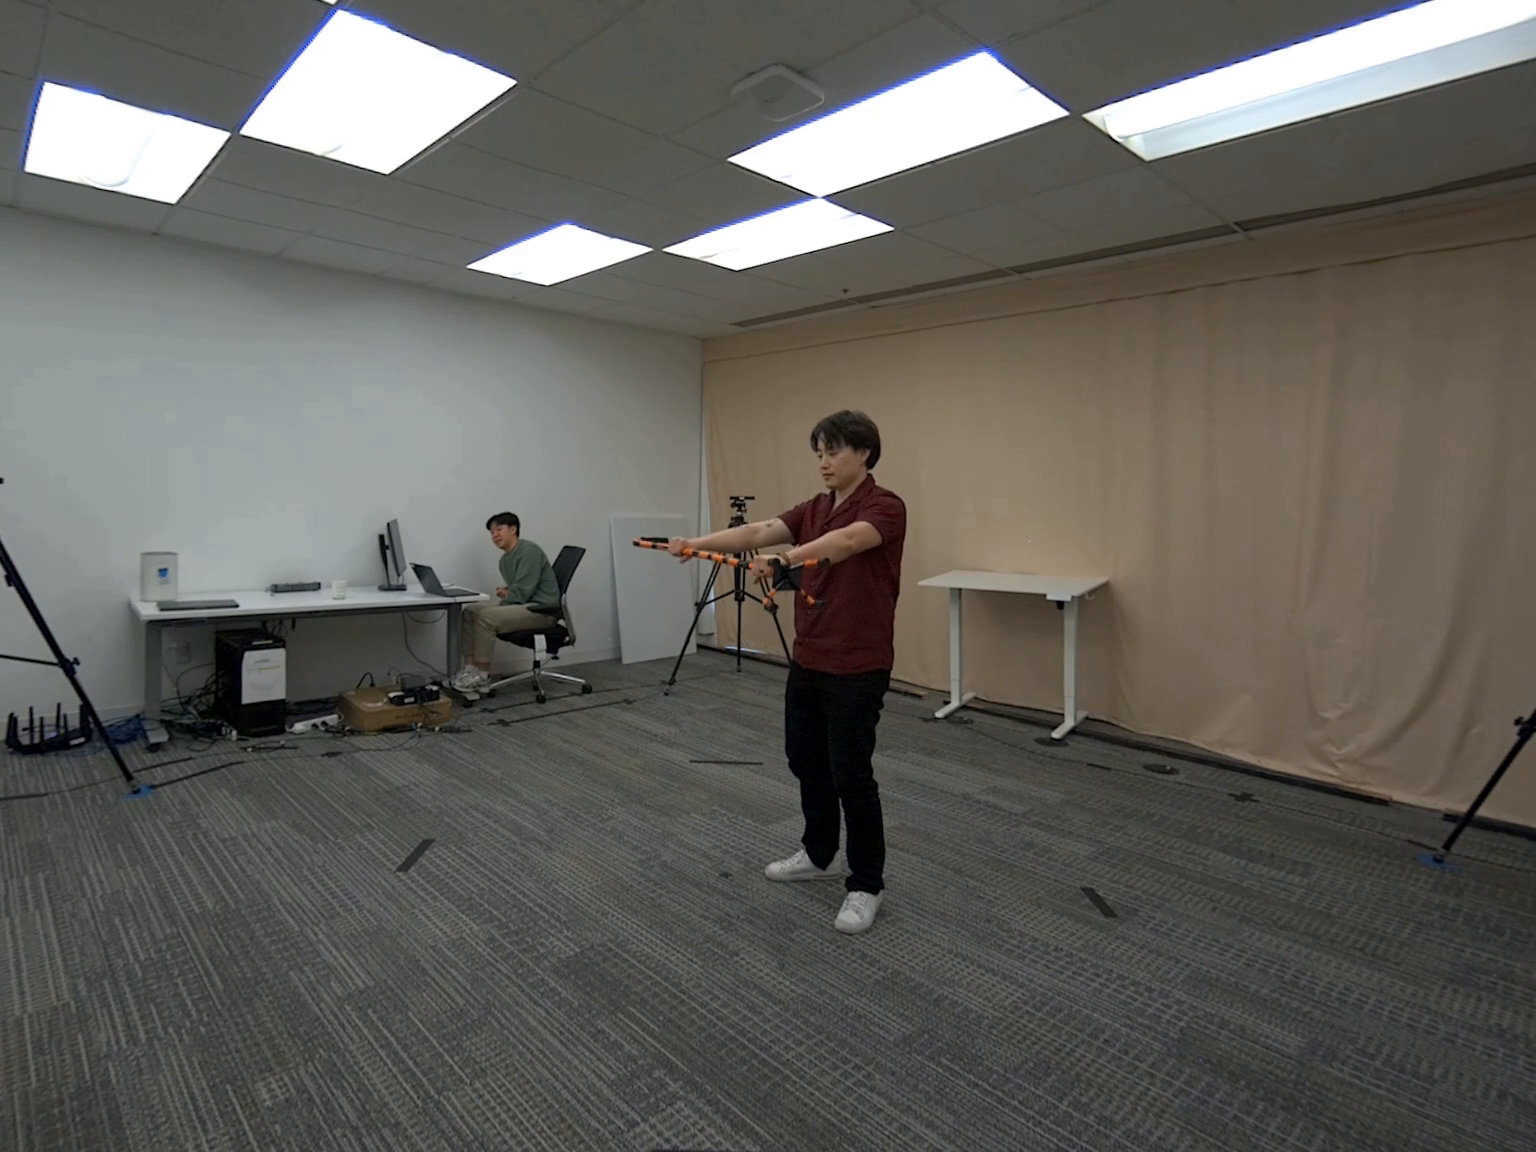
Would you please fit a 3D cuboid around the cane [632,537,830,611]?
[{"bbox_3d":[-0.202,-0.052,2.677,0.202,0.151,0.932,0,8,-35],"label":"cane"}]
